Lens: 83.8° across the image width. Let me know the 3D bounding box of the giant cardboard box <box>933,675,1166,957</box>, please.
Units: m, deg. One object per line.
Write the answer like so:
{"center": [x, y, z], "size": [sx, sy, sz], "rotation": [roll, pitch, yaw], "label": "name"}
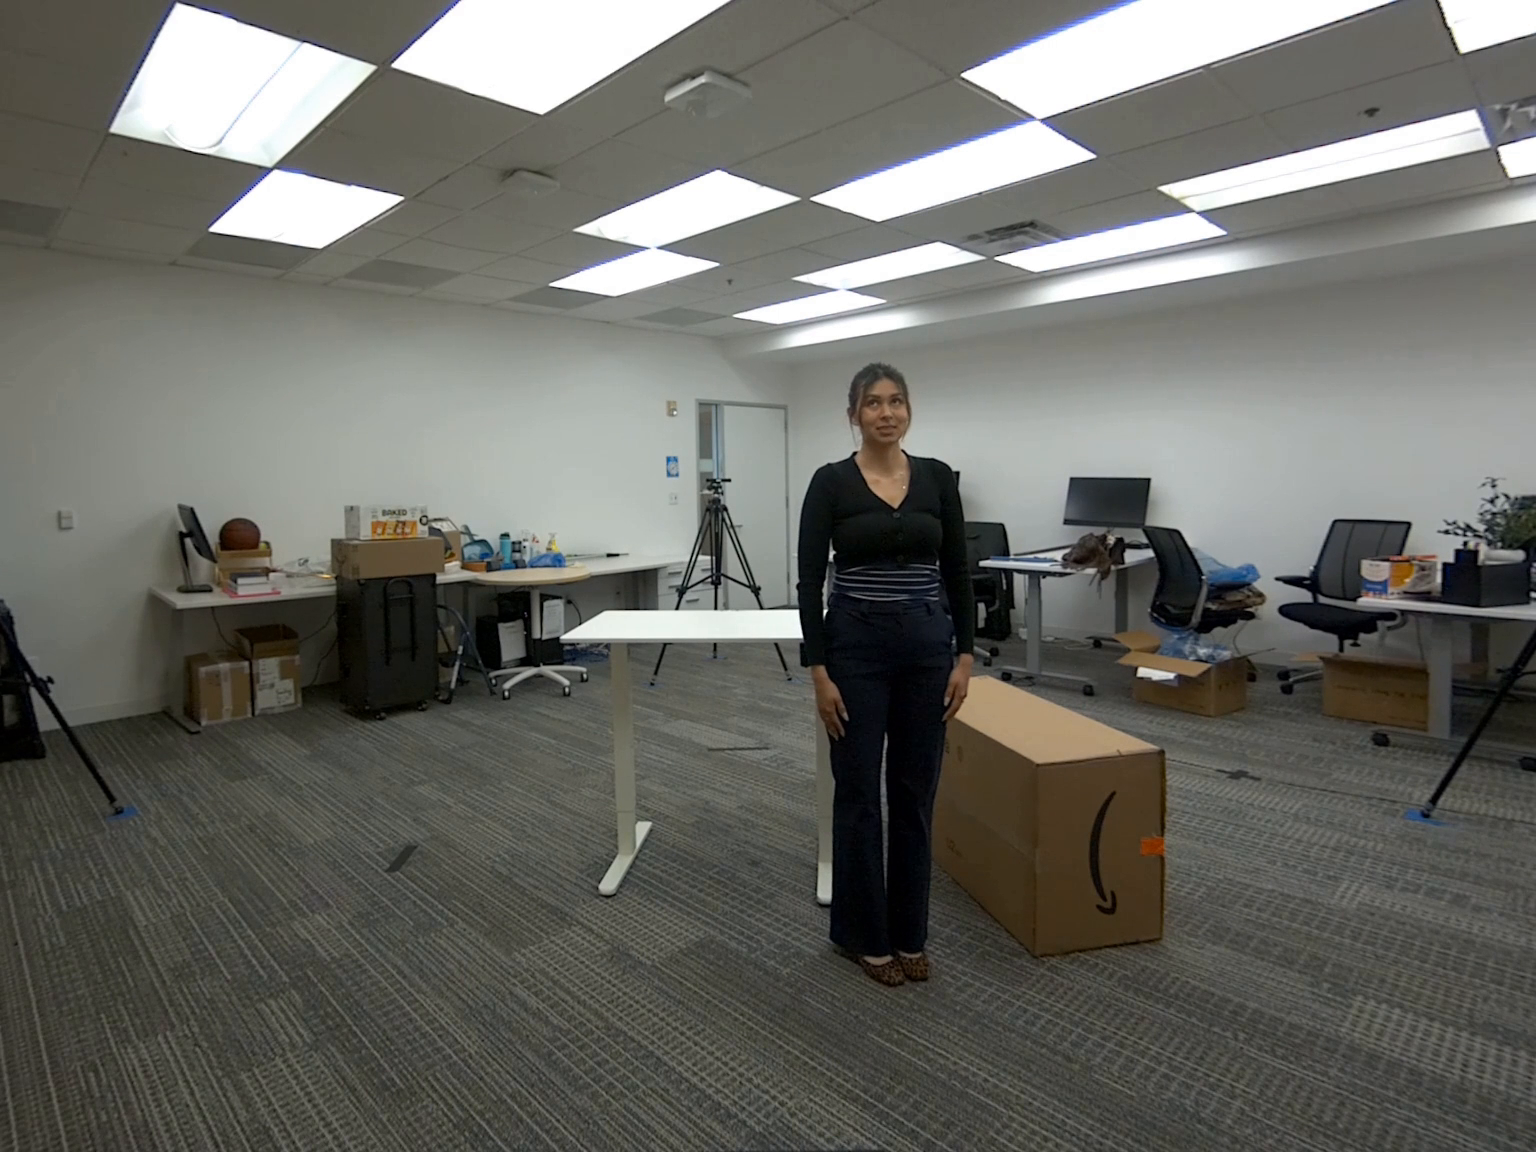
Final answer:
{"center": [0.844, 0.751, 2.987], "size": [0.421, 0.575, 1.043], "rotation": [-1, 6, -15], "label": "giant cardboard box"}
